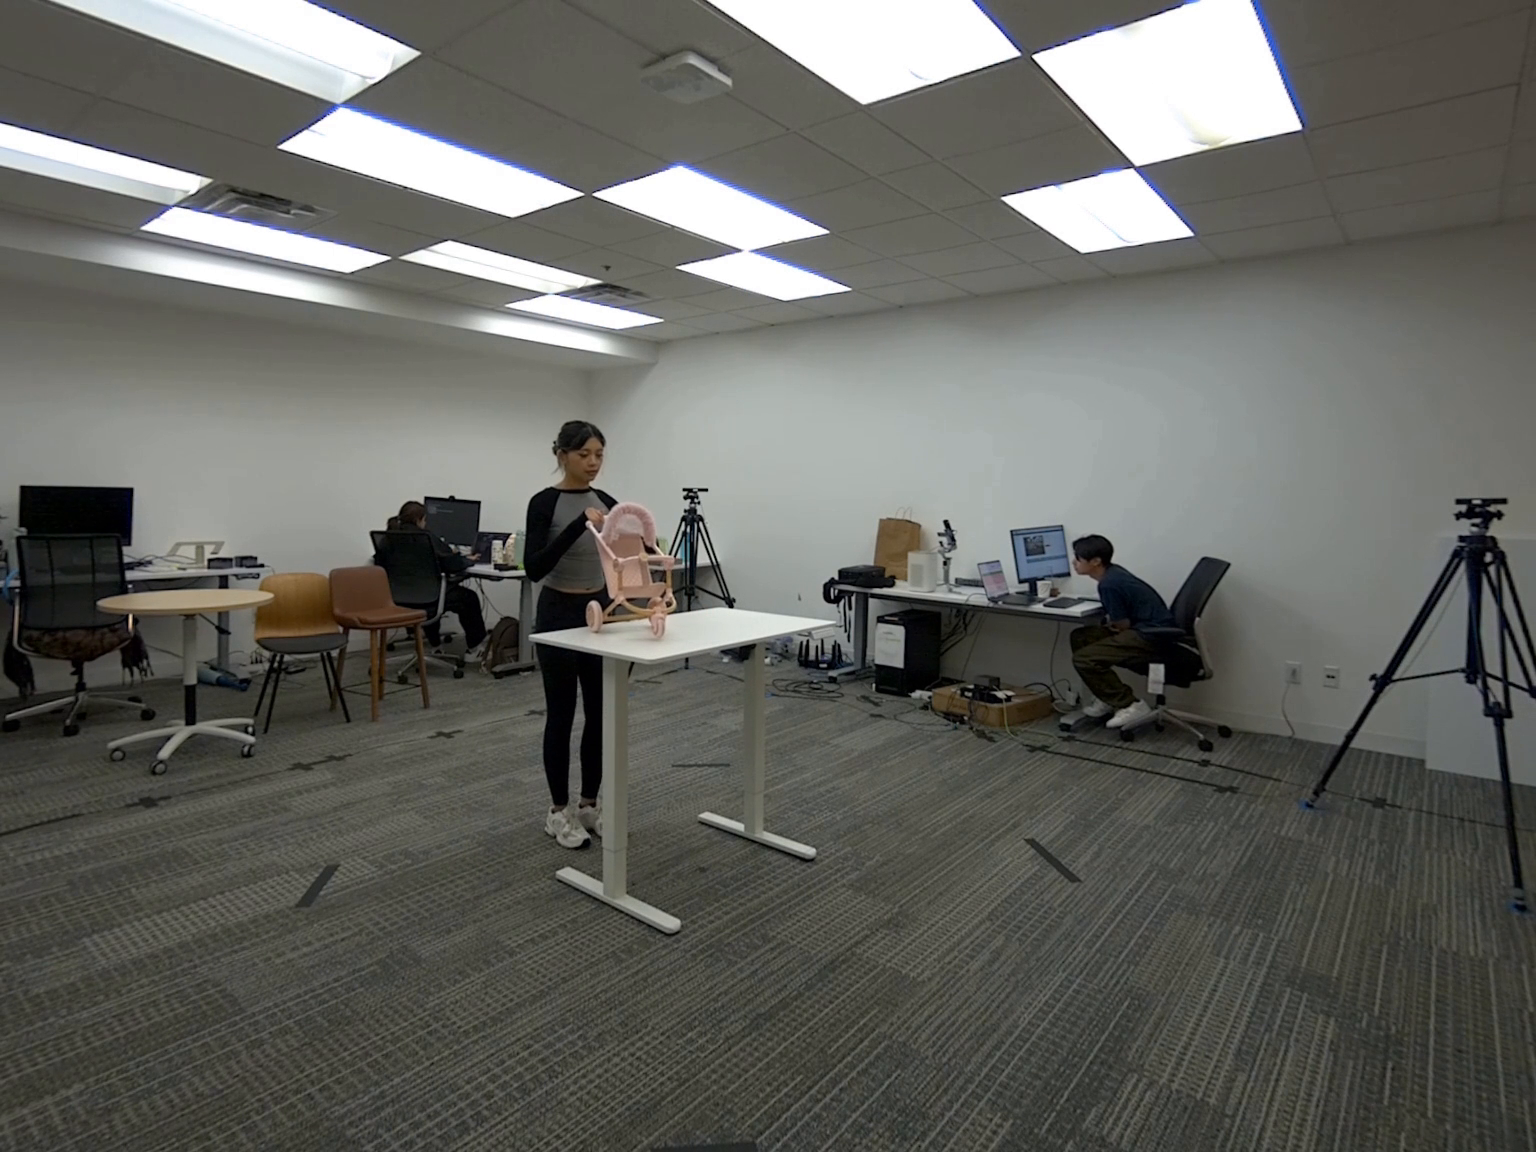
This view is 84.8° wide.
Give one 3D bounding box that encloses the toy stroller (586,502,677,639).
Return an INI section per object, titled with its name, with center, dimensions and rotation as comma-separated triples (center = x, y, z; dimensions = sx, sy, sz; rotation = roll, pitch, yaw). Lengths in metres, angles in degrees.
[toy stroller]
center = -0.485, -0.029, 2.993
dimensions = 0.274, 0.543, 0.345
rotation = -2, -15, -30
